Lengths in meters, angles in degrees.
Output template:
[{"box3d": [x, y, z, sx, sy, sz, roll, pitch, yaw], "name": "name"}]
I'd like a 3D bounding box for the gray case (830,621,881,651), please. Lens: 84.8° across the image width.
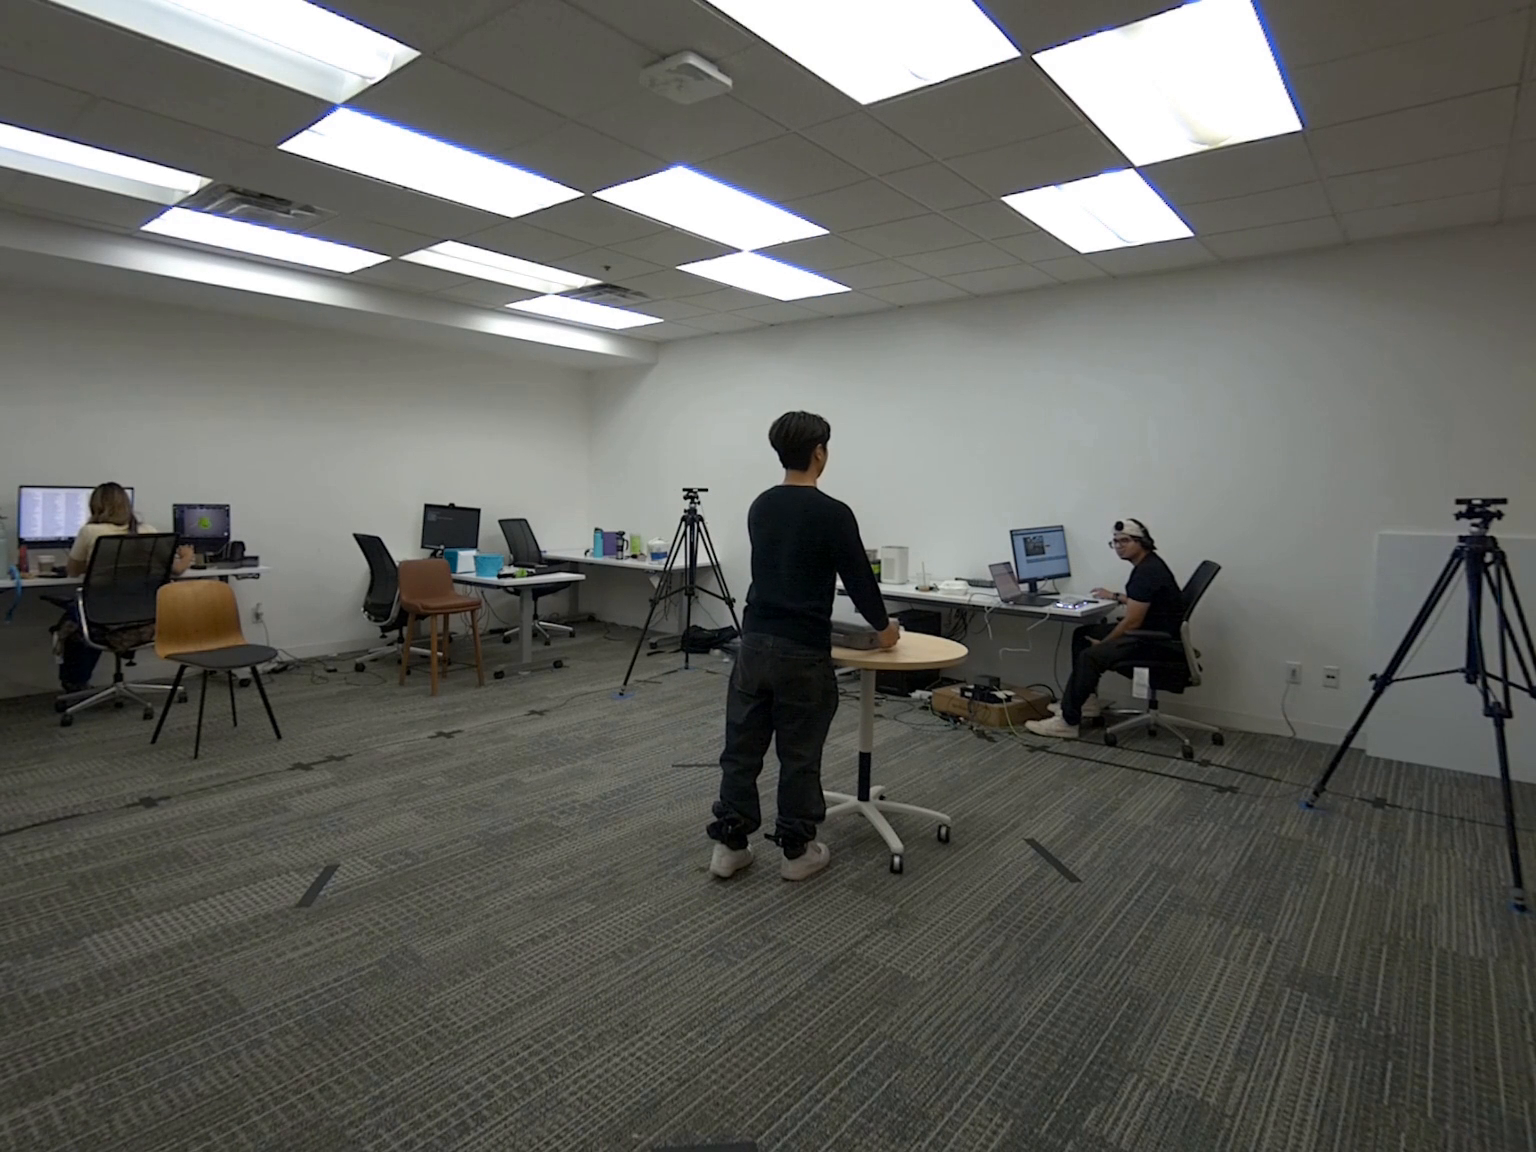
[{"box3d": [0.357, 0.216, 3.417, 0.266, 0.104, 0.253, 9, 9, 40], "name": "gray case"}]
